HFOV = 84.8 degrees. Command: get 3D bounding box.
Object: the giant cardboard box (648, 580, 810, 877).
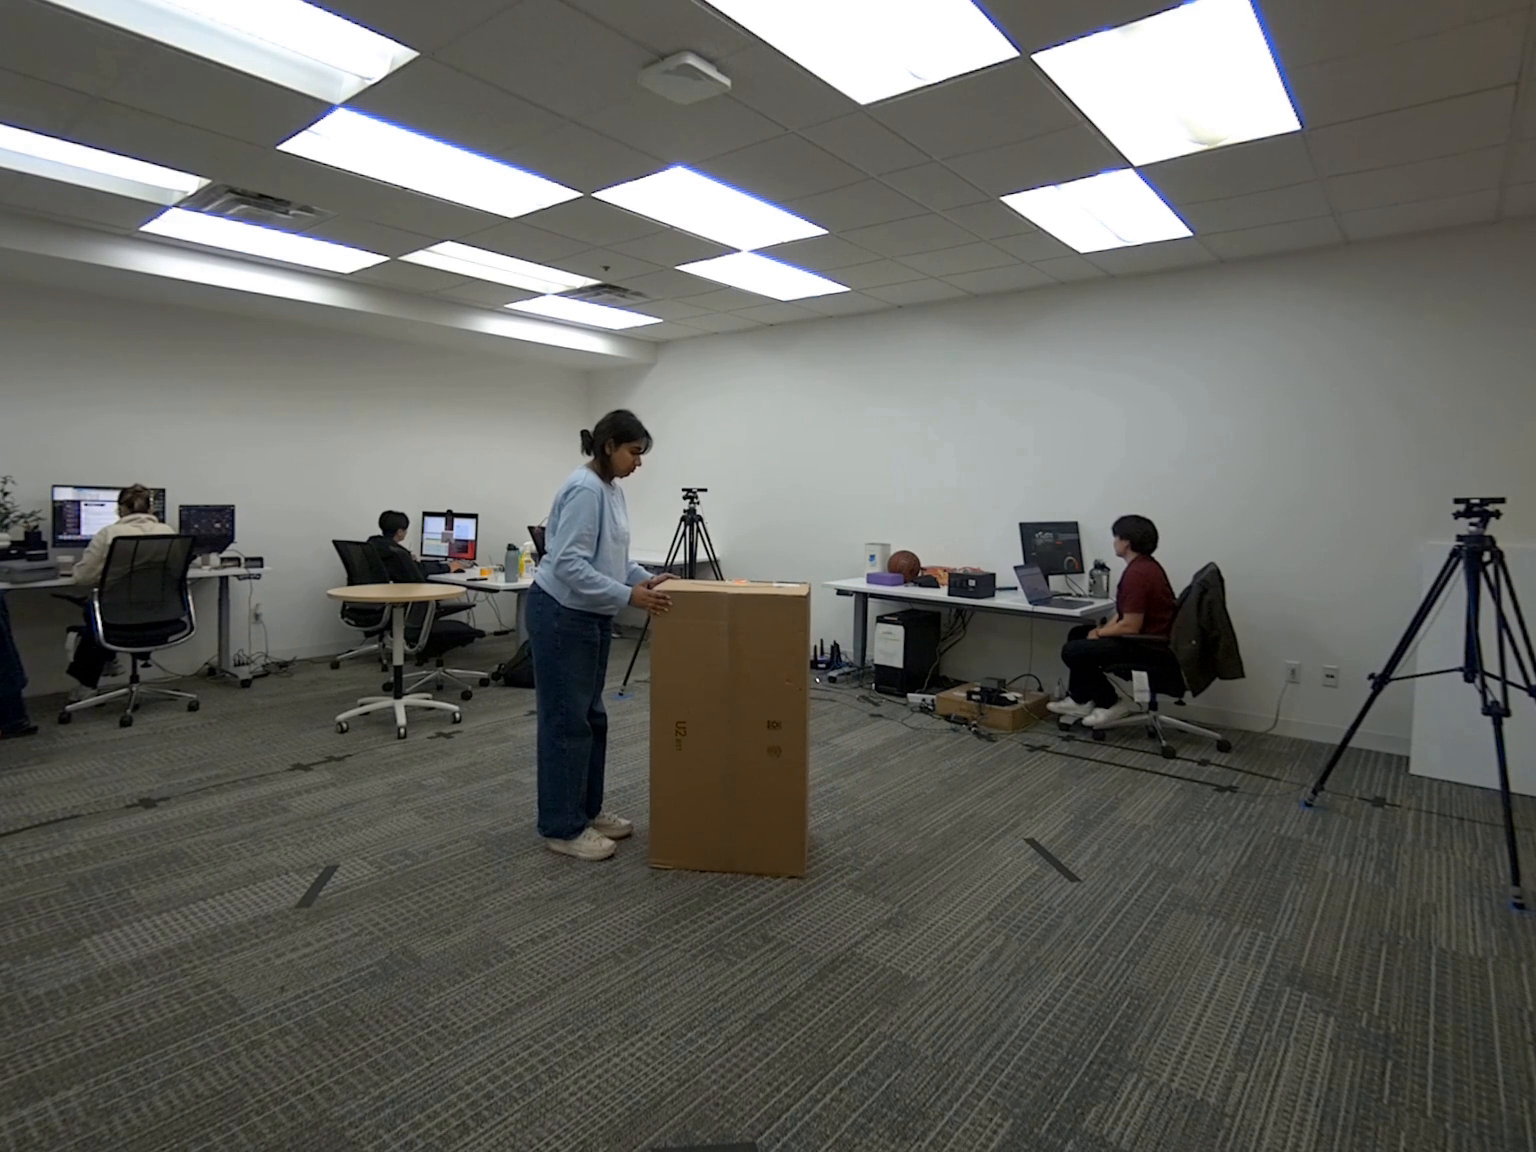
[{"bbox_3d":[-0.137,0.547,3.263,0.582,1.023,0.424,1,3,6],"label":"giant cardboard box"}]
